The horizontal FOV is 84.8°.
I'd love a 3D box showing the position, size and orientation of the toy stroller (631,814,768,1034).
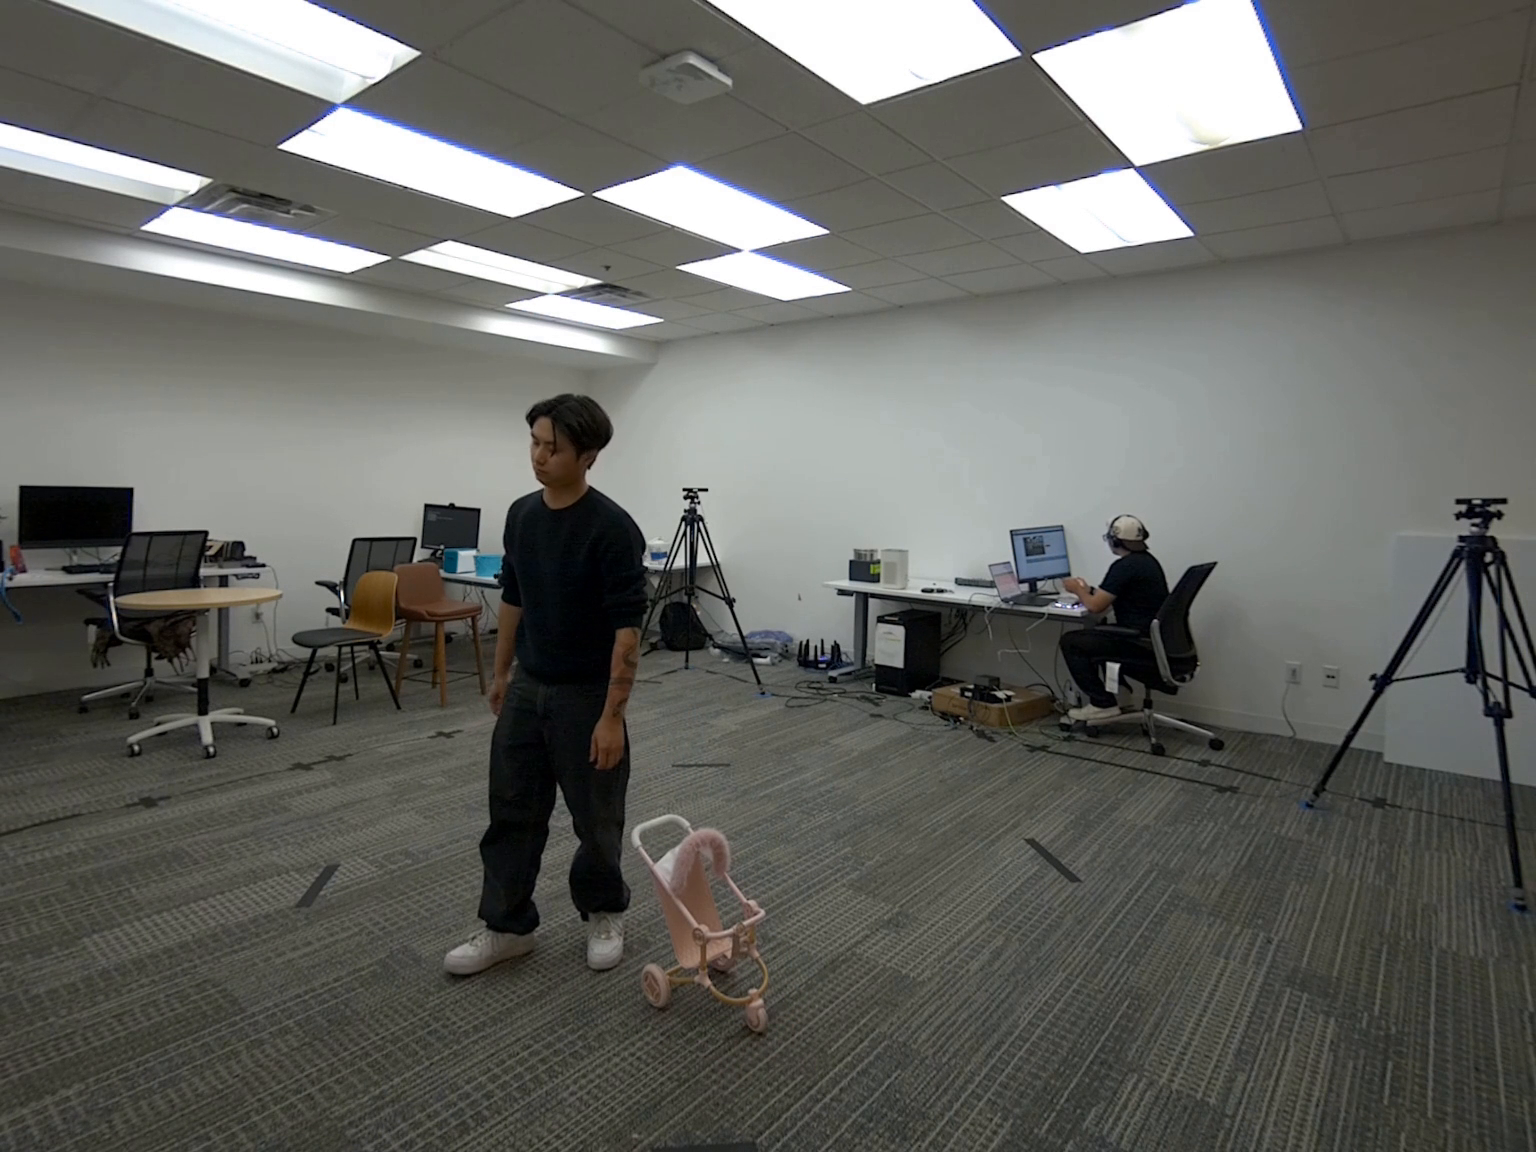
[{"bbox_3d":[-0.176,0.923,2.310,0.273,0.540,0.348,-3,-11,-43],"label":"toy stroller"}]
